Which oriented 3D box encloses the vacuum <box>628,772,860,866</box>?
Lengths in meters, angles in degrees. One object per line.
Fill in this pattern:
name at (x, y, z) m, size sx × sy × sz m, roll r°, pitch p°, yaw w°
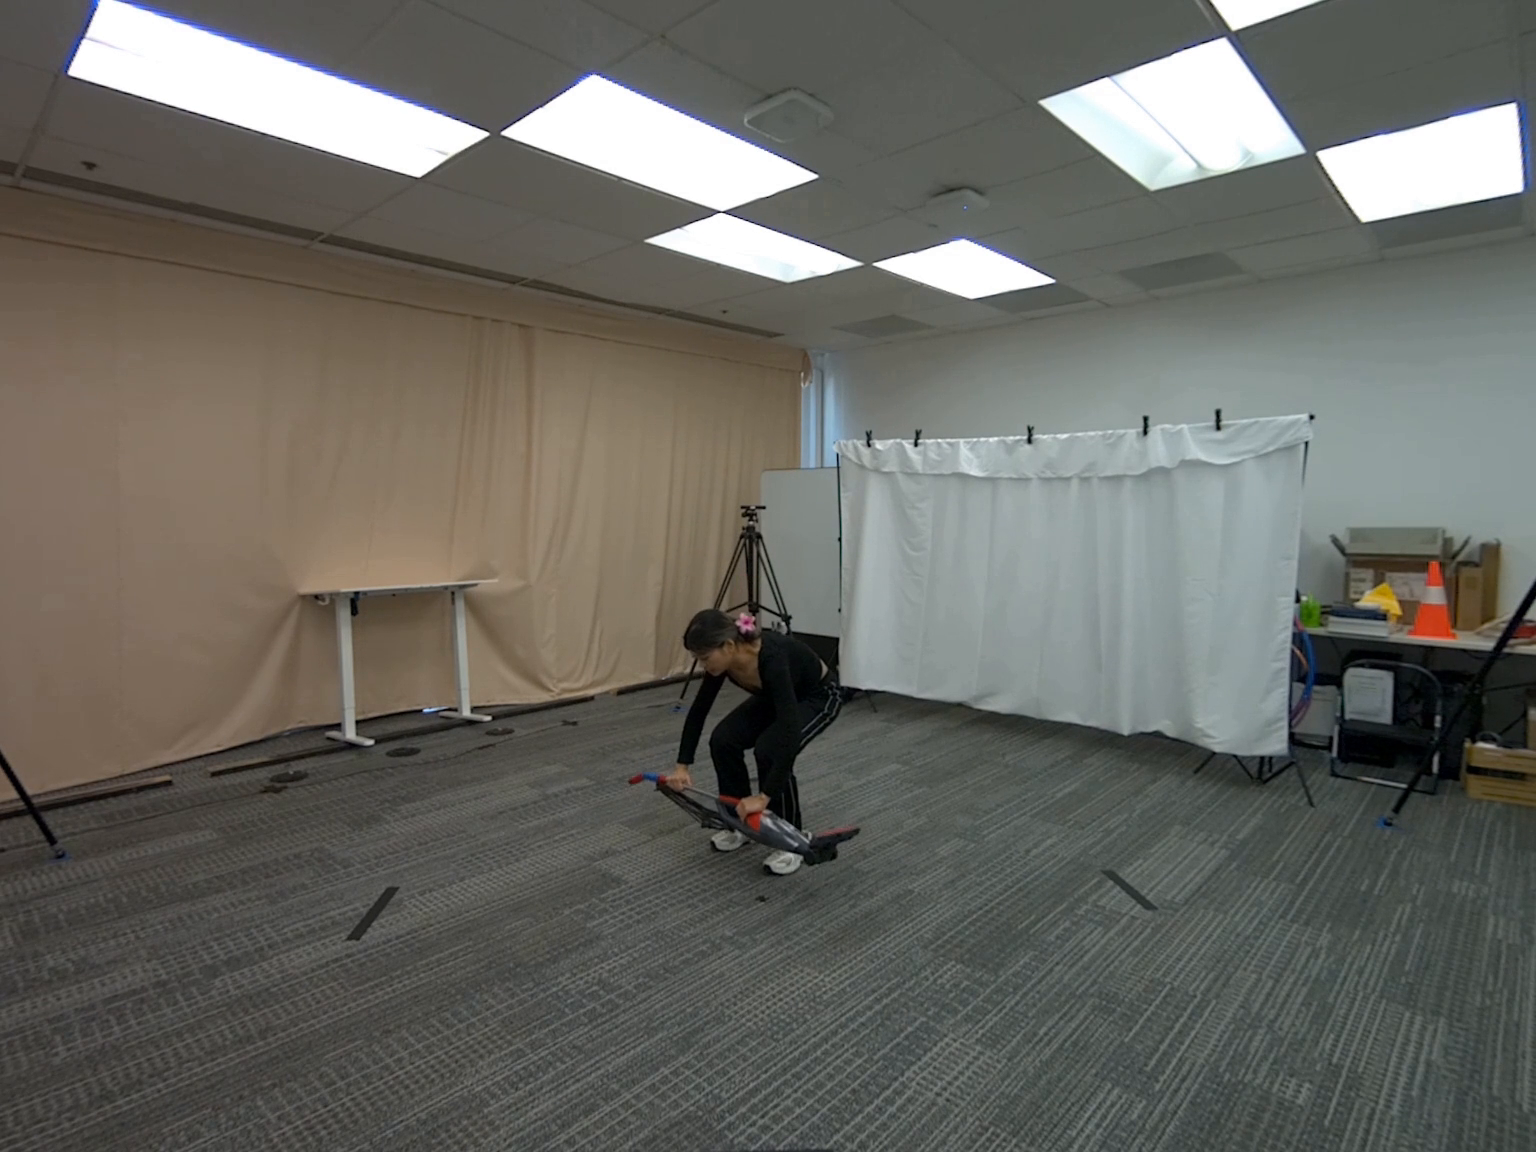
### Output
vacuum at (-0.199, 0.891, 3.192) m, size 1.084 × 0.144 × 0.244 m, roll 3°, pitch -7°, yaw 42°
